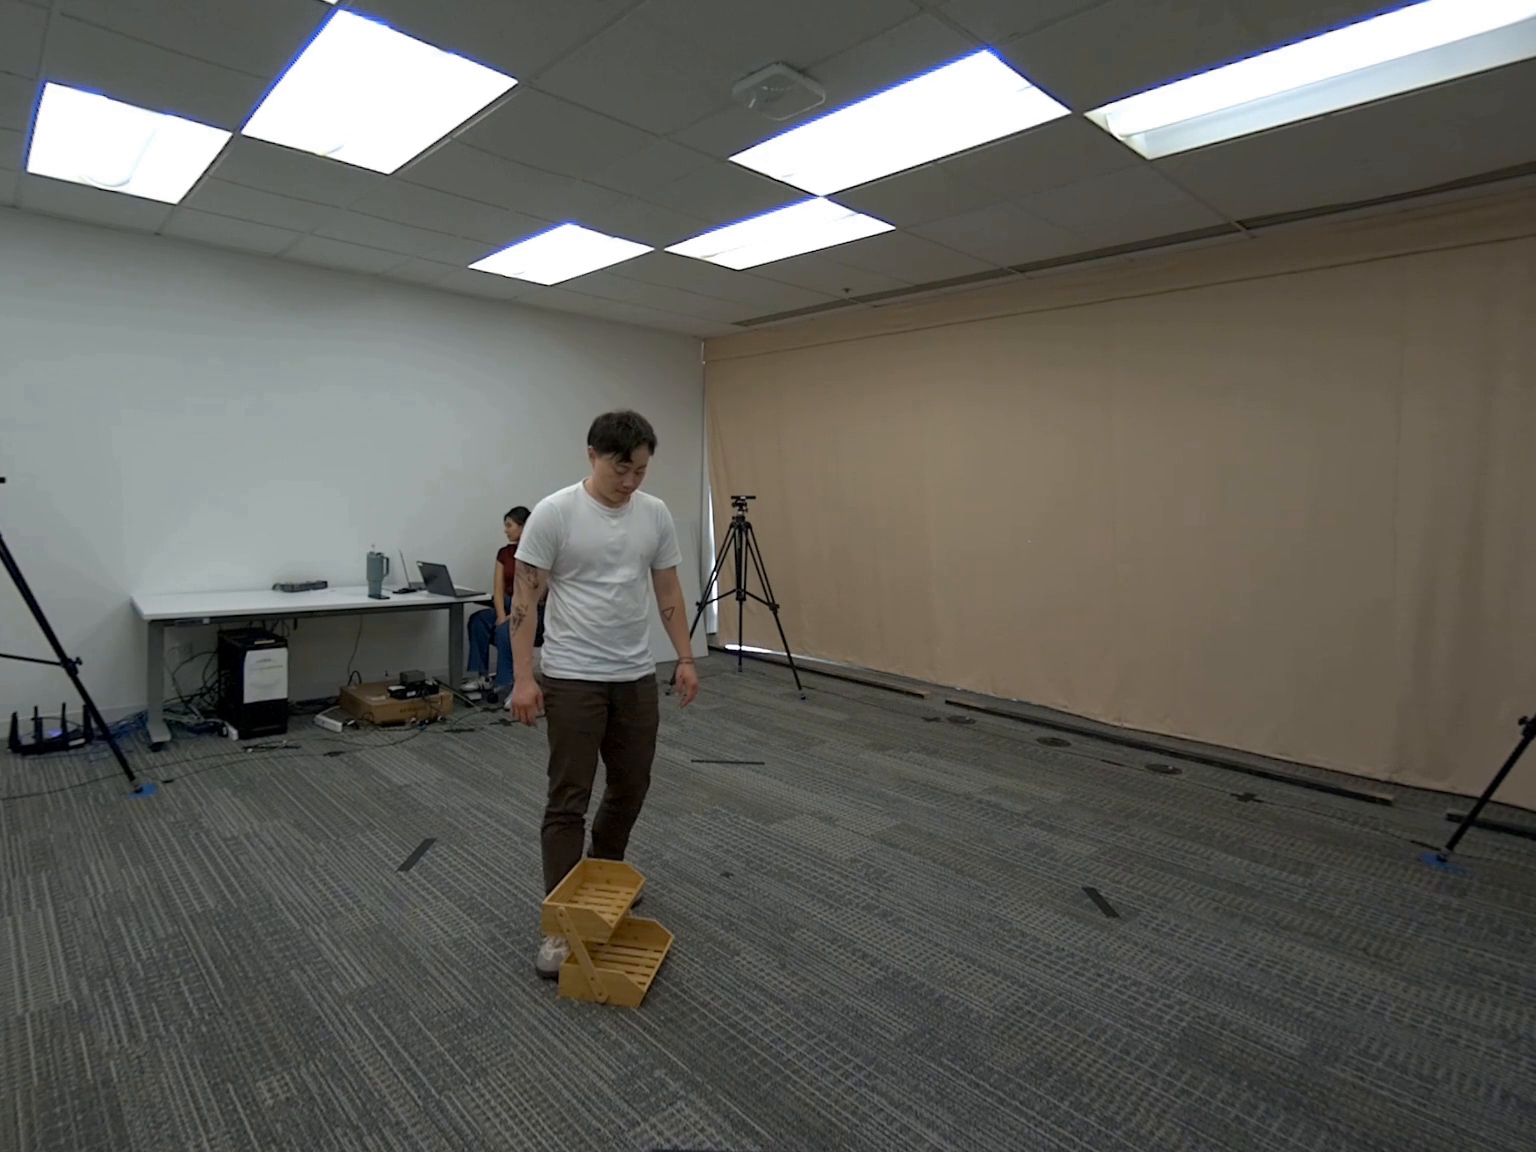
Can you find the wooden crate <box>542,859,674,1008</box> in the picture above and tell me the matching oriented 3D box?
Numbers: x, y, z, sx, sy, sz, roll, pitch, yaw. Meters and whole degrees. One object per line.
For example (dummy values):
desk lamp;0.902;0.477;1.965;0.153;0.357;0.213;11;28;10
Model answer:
wooden crate;-0.455;1.027;2.437;0.305;0.272;0.322;2;4;11
